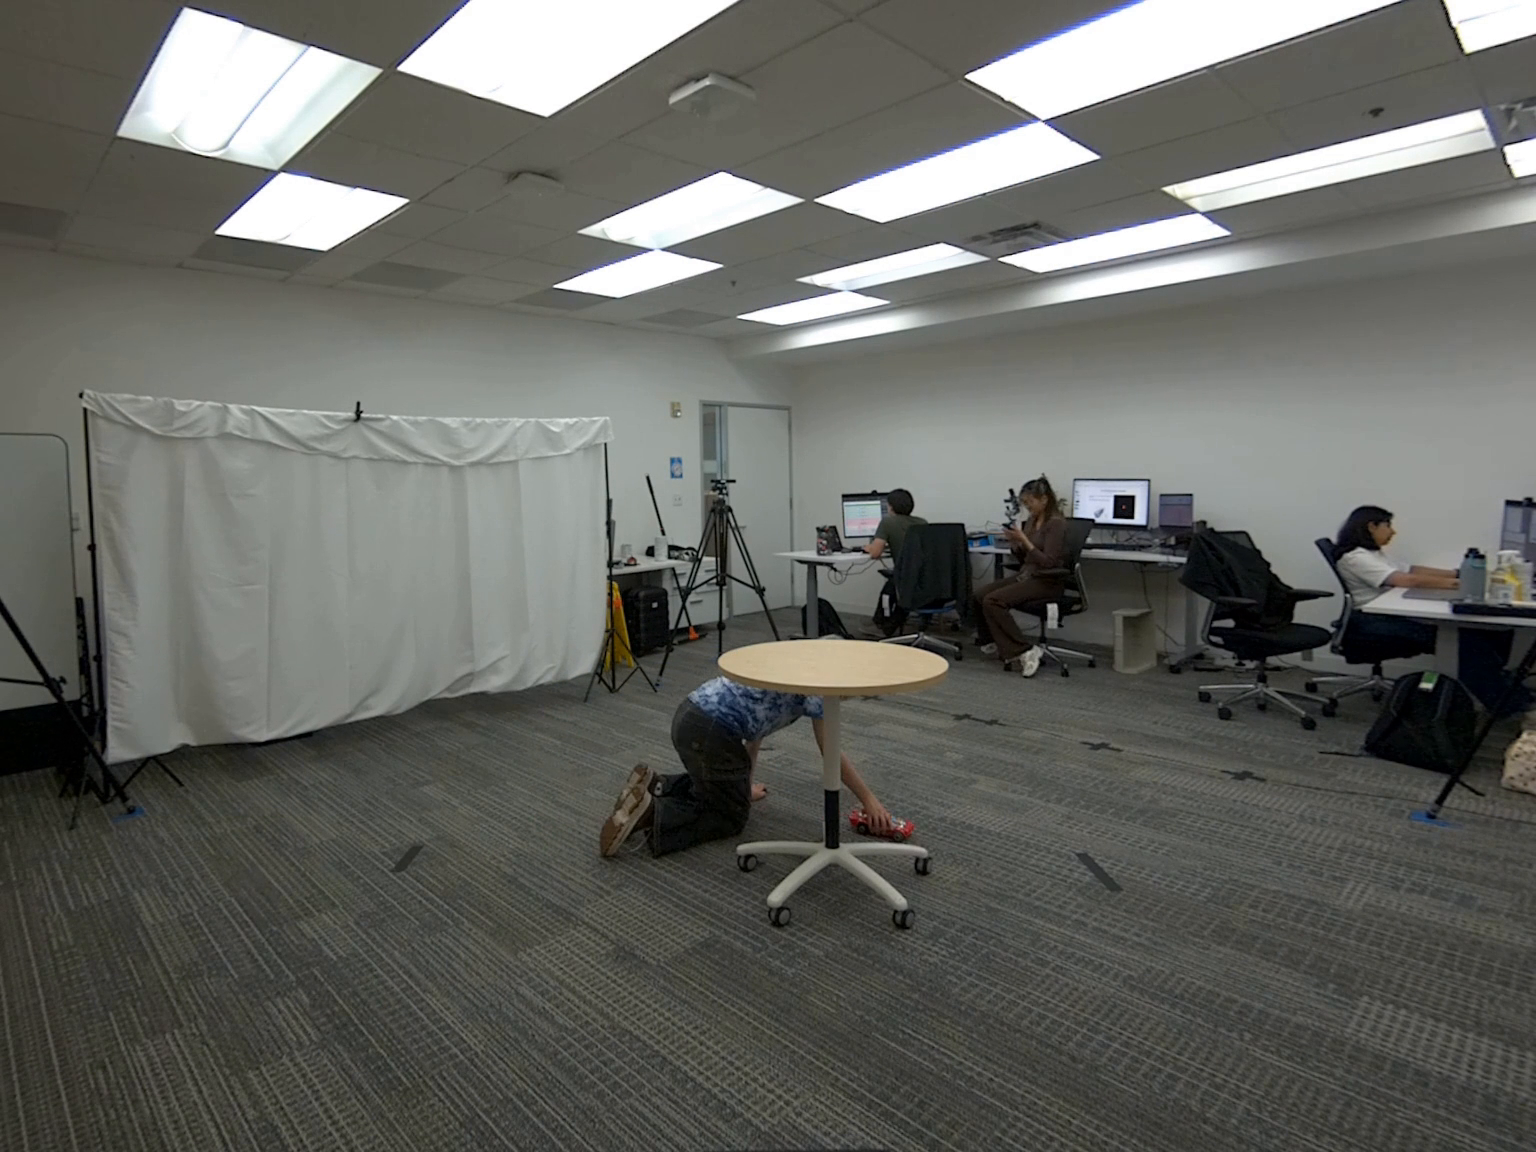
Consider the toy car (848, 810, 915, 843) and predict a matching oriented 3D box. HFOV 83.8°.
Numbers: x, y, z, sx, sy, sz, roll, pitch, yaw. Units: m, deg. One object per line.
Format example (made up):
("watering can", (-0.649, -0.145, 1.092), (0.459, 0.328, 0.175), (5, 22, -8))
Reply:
("toy car", (0.434, 0.975, 3.367), (0.262, 0.082, 0.127), (15, 12, 28))
